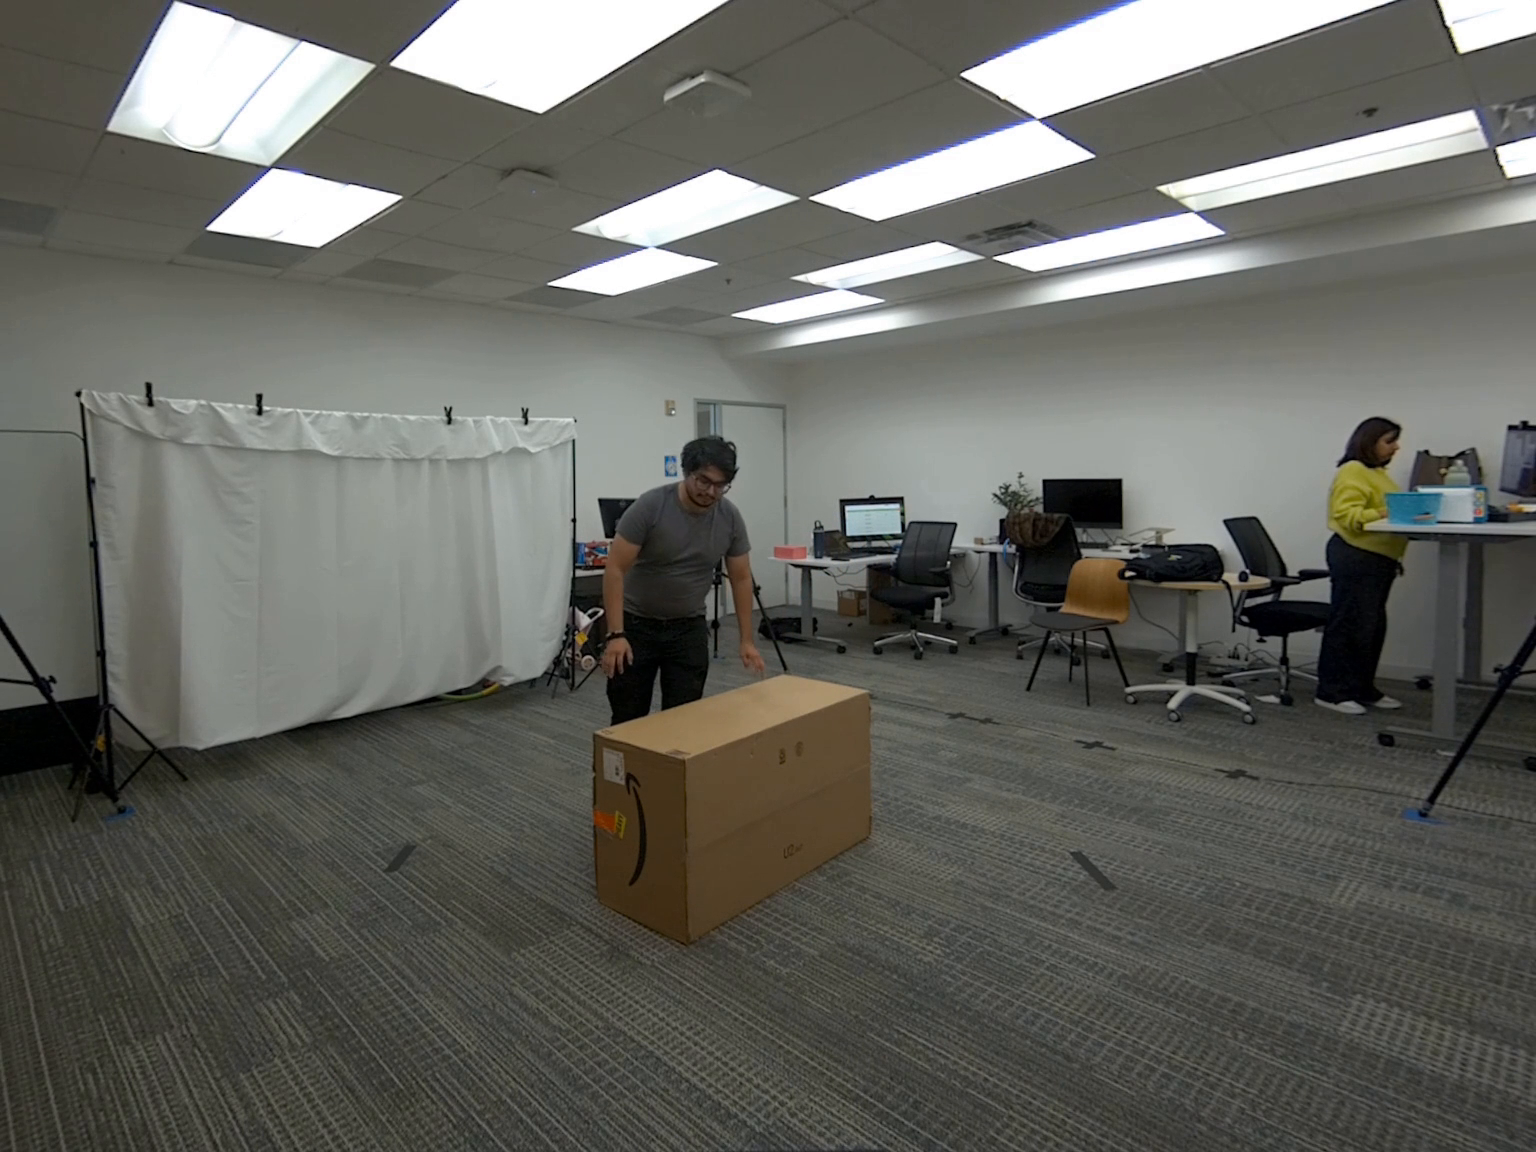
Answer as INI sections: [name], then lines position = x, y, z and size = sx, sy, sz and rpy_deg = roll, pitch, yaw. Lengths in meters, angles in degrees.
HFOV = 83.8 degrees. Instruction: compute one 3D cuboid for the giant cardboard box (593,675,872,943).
[giant cardboard box]
position = -0.091, 0.758, 3.056
size = 0.439, 0.575, 1.000
rpy_deg = 2, 7, 41
